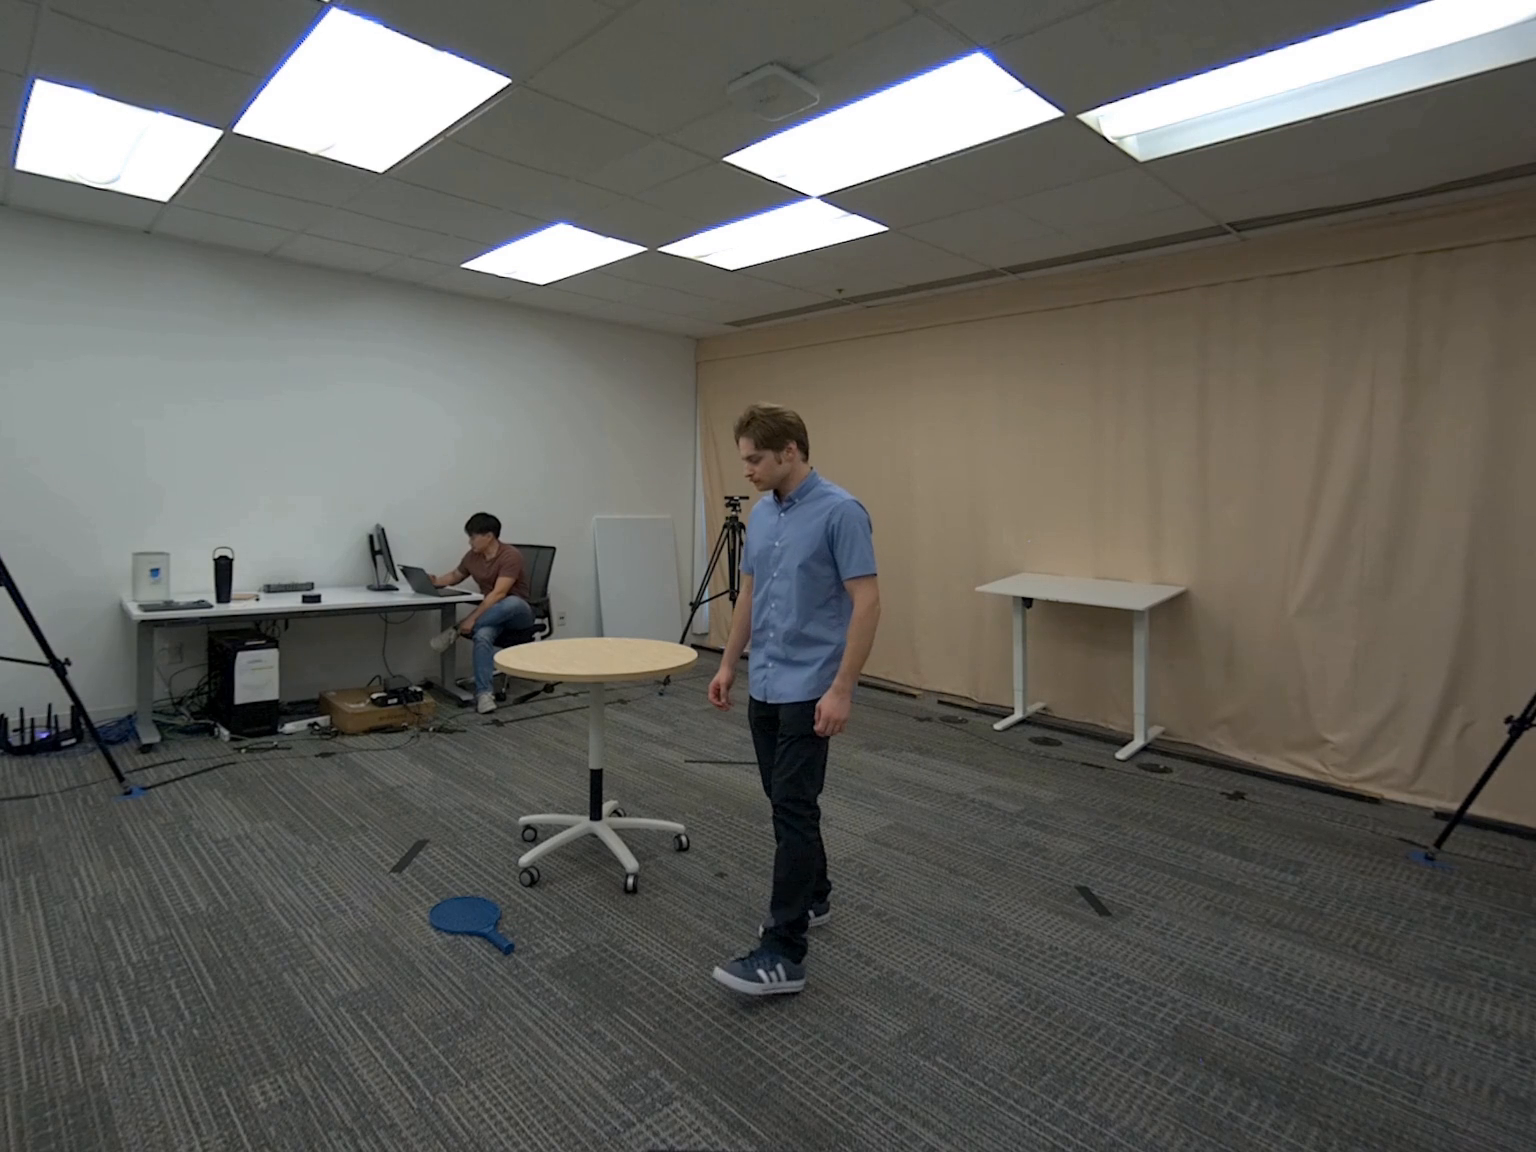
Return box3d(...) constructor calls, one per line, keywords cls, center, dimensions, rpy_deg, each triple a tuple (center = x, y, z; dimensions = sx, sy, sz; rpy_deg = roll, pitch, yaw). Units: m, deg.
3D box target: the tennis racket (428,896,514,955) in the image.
box3d(cls="tennis racket", center=(-0.939, 1.110, 2.693), dimensions=(0.209, 0.032, 0.444), rpy_deg=(-3, 5, -42))
